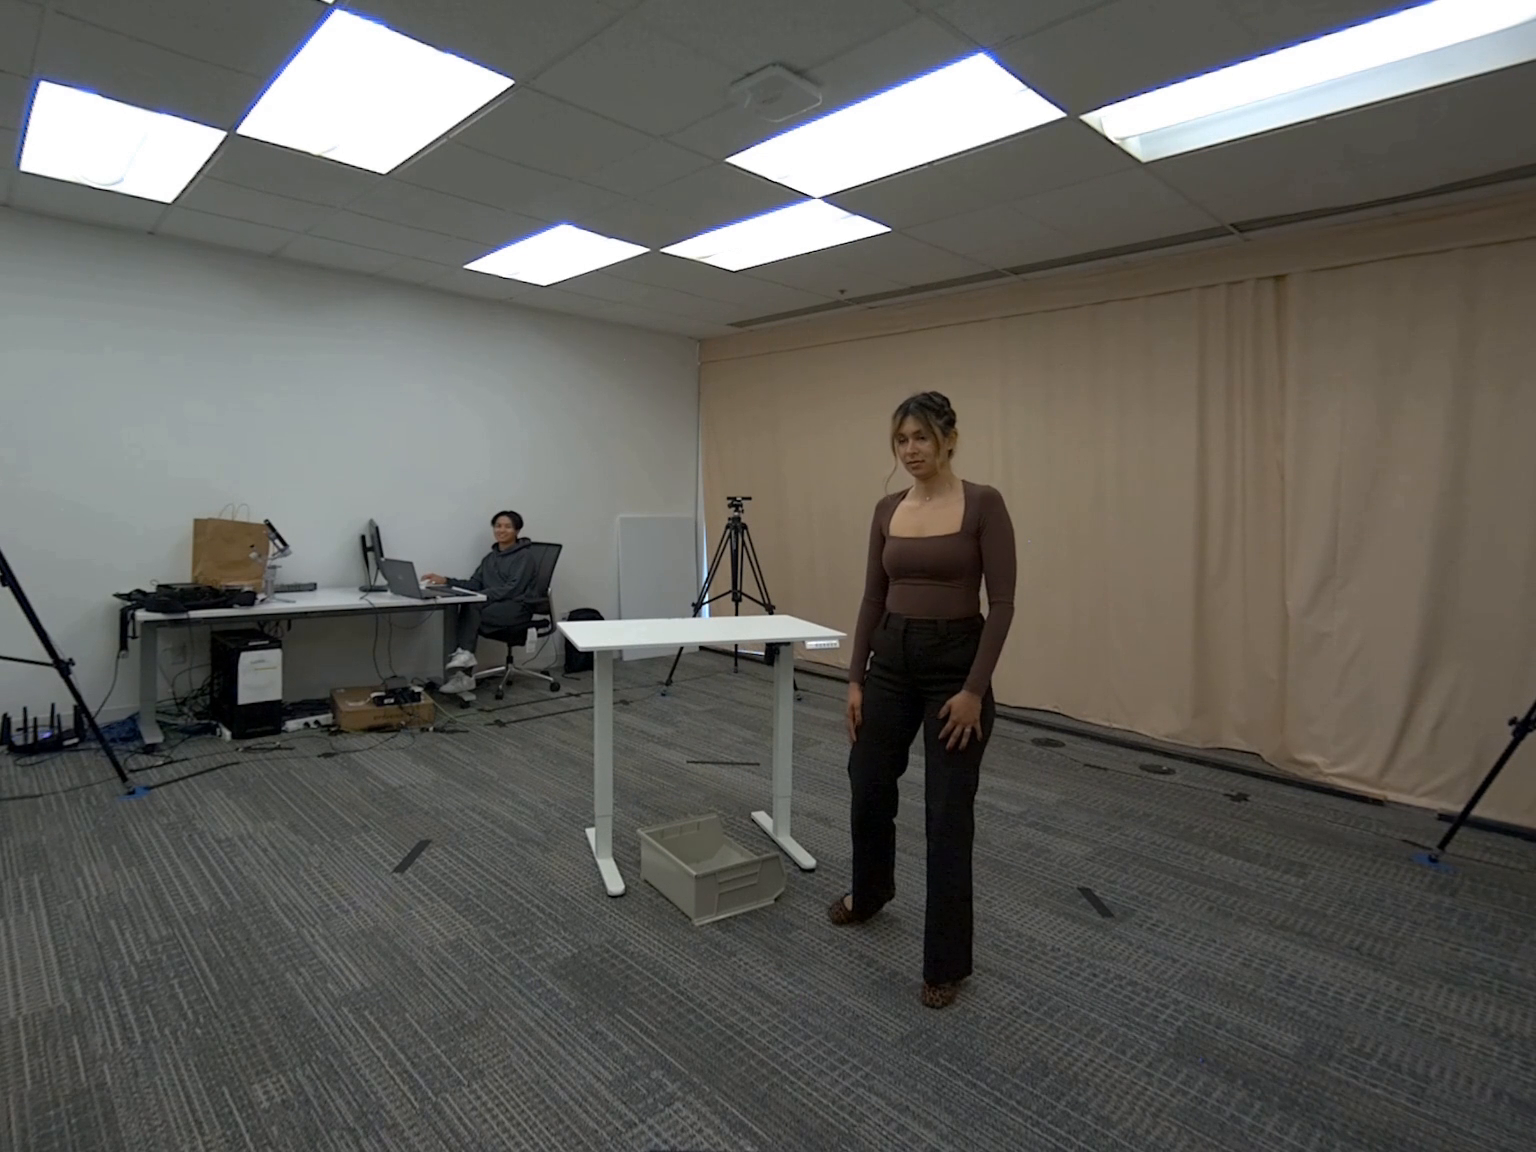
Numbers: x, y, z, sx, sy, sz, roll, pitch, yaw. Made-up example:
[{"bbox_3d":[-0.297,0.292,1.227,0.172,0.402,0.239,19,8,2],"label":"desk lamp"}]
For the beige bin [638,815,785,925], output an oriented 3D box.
[{"bbox_3d":[-0.212,1.031,2.989,0.369,0.188,0.433,-3,7,-34],"label":"beige bin"}]
